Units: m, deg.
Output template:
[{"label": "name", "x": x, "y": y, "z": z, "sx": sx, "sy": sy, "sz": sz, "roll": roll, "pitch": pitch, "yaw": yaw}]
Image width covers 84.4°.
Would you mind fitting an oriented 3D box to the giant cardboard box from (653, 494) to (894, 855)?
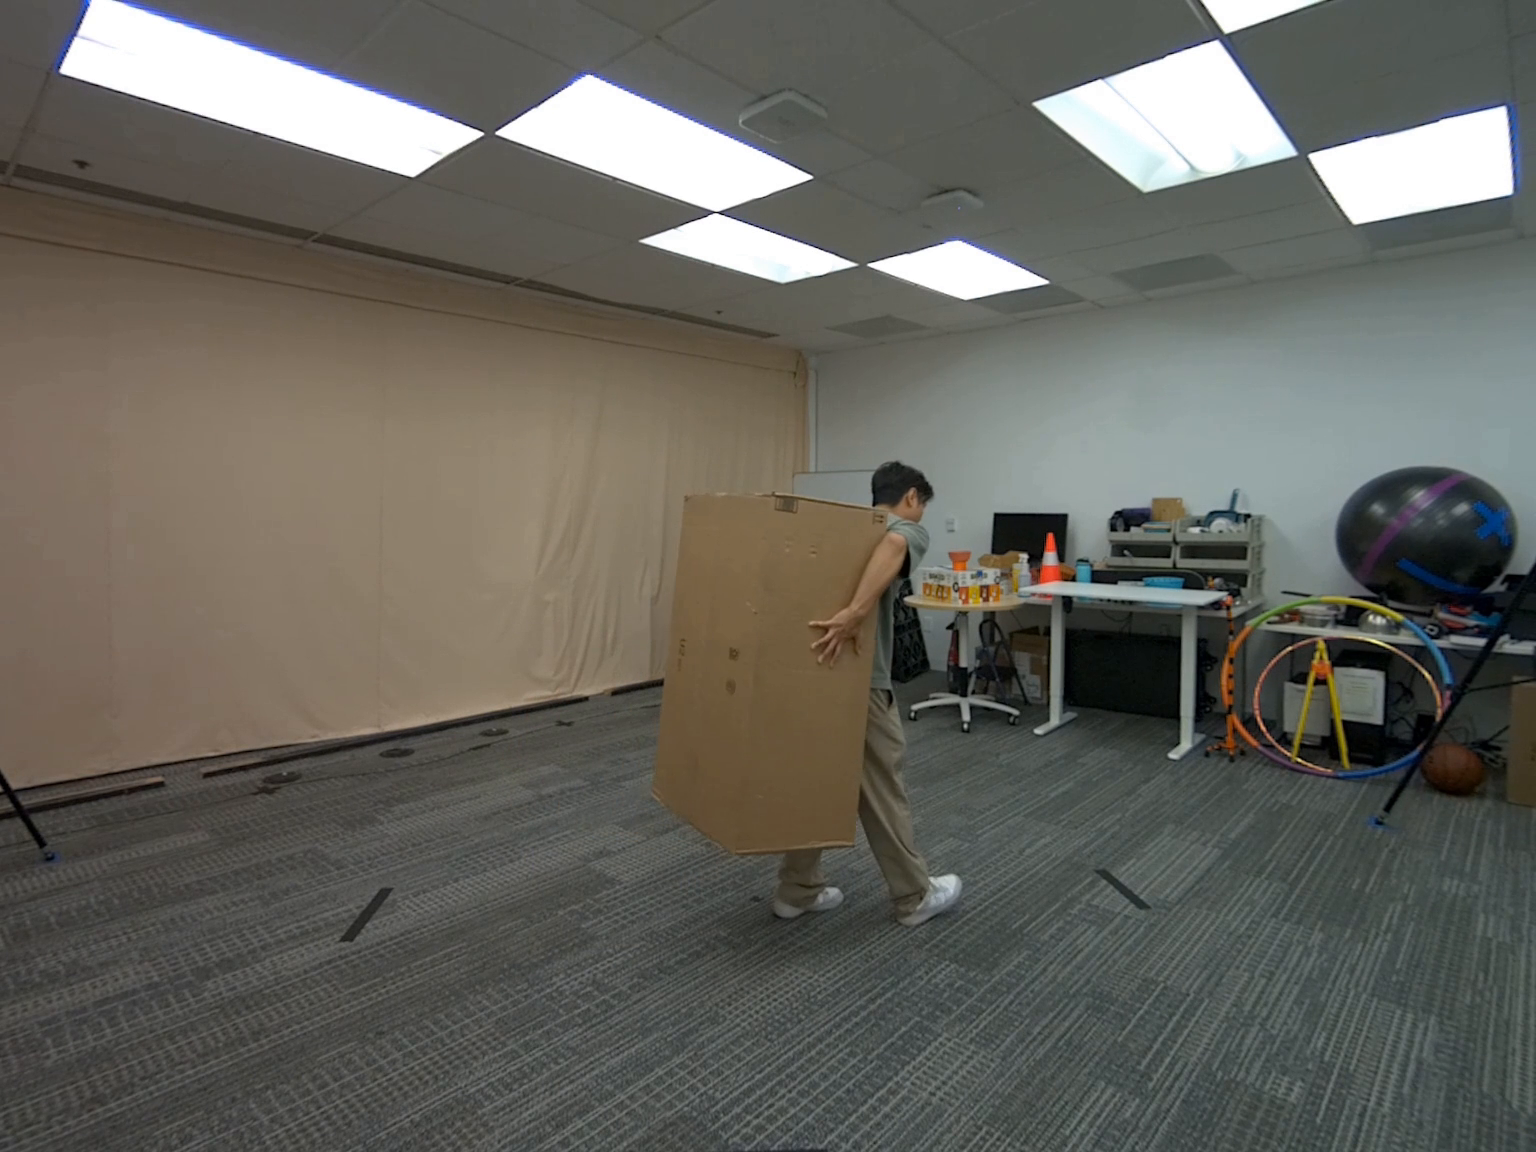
[{"label": "giant cardboard box", "x": -0.009, "y": 0.271, "z": 2.687, "sx": 0.414, "sy": 1.026, "sz": 0.594, "roll": 6, "pitch": -1, "yaw": -30}]
